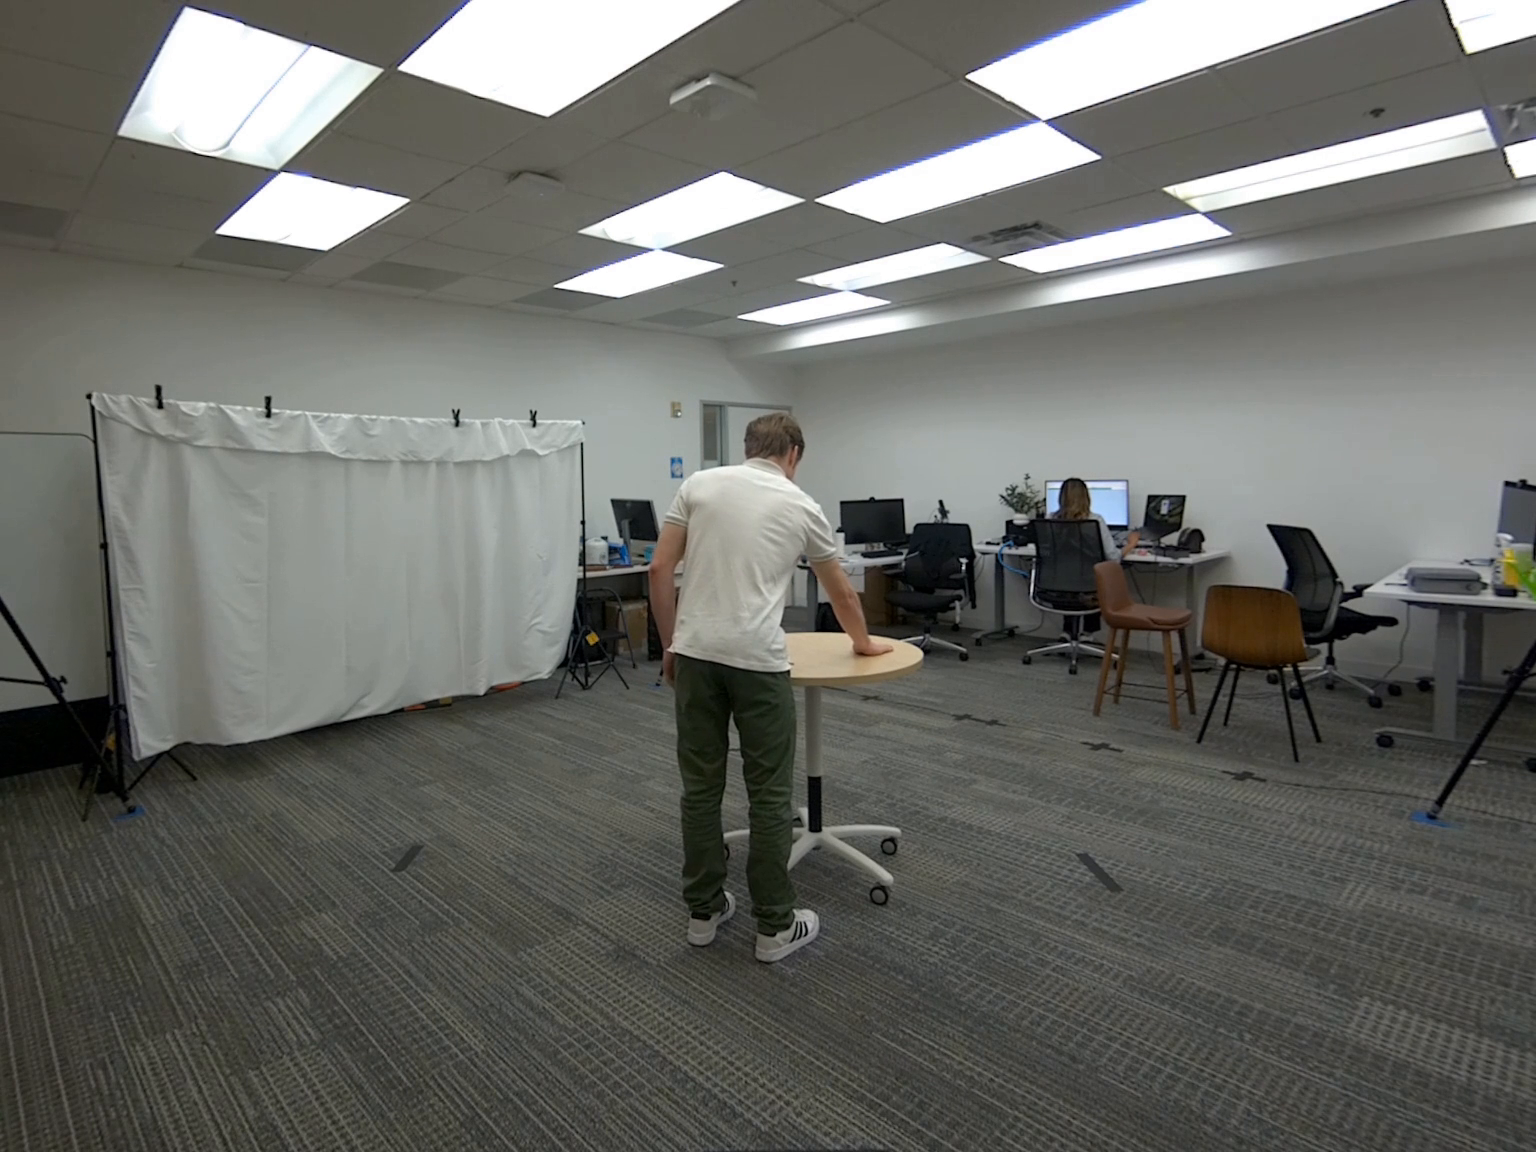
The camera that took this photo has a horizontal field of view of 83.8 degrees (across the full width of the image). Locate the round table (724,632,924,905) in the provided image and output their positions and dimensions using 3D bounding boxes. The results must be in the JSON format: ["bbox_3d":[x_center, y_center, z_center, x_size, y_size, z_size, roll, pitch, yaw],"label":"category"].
[{"bbox_3d":[0.181,0.656,3.047,0.784,0.783,0.789,-2,5,-2],"label":"round table"}]
